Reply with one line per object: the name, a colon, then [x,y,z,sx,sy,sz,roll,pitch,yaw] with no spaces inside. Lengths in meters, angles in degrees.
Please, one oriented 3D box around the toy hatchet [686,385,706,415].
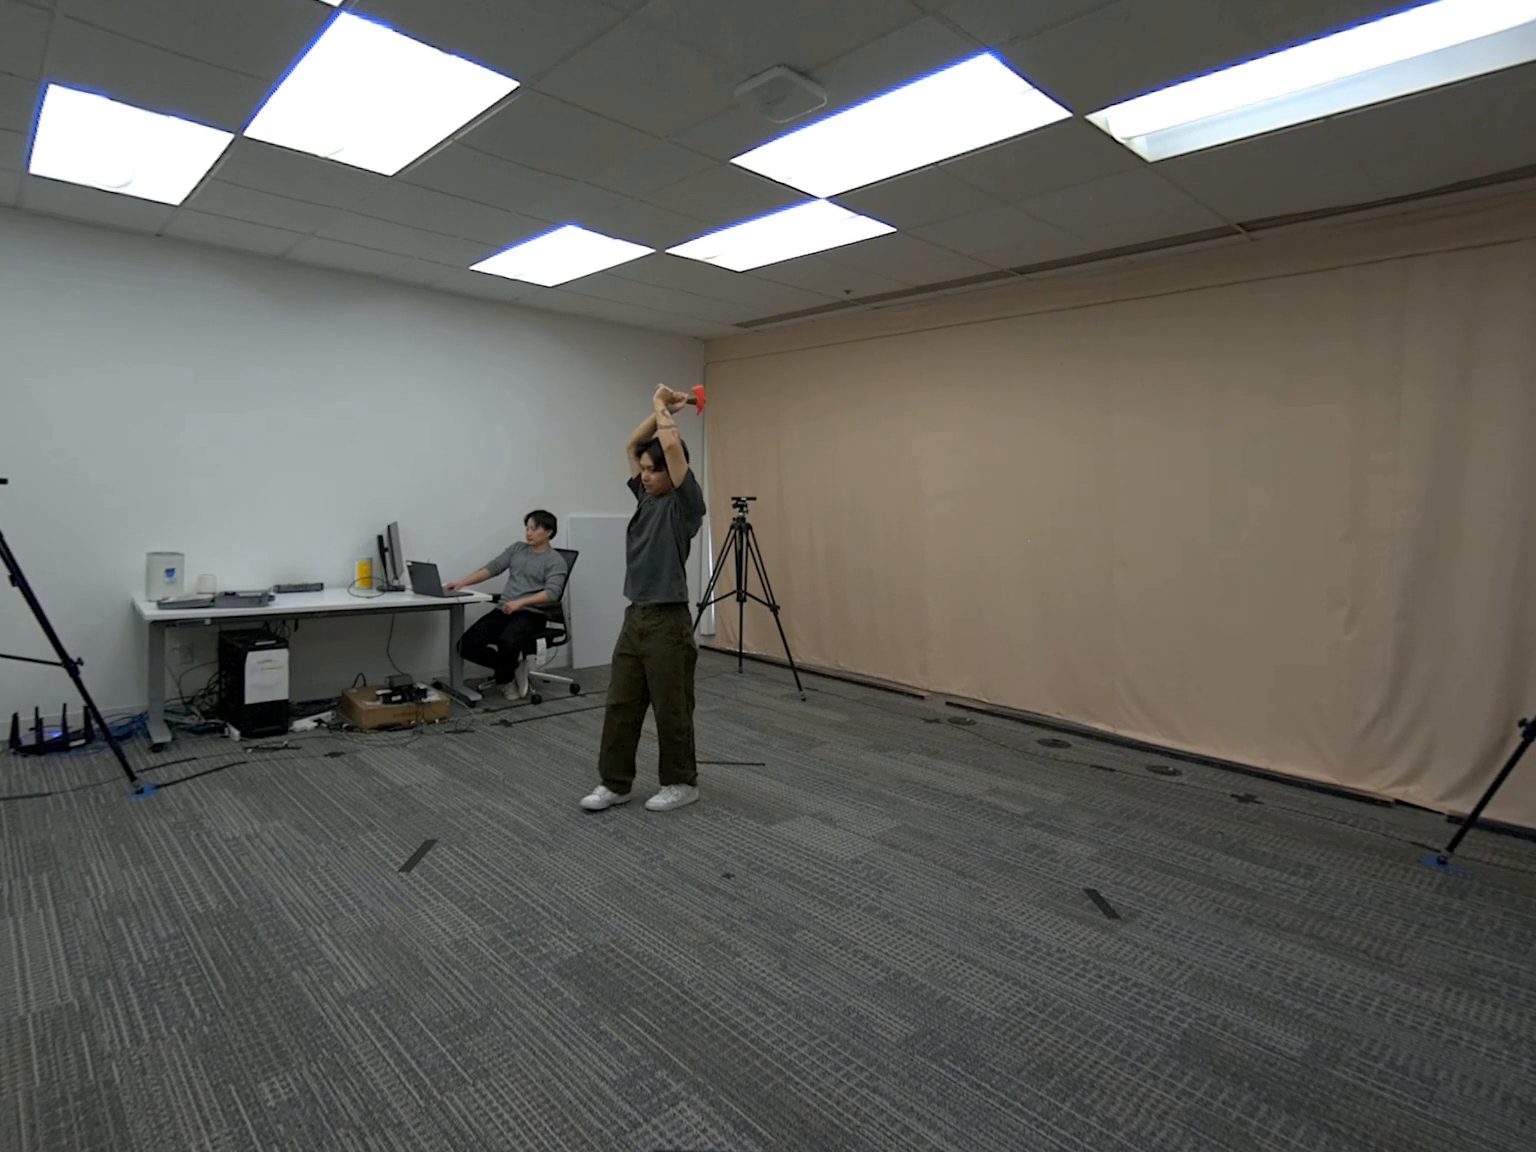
toy hatchet: [-0.388,-0.820,3.734,0.262,0.131,0.030,19,6,-41]
